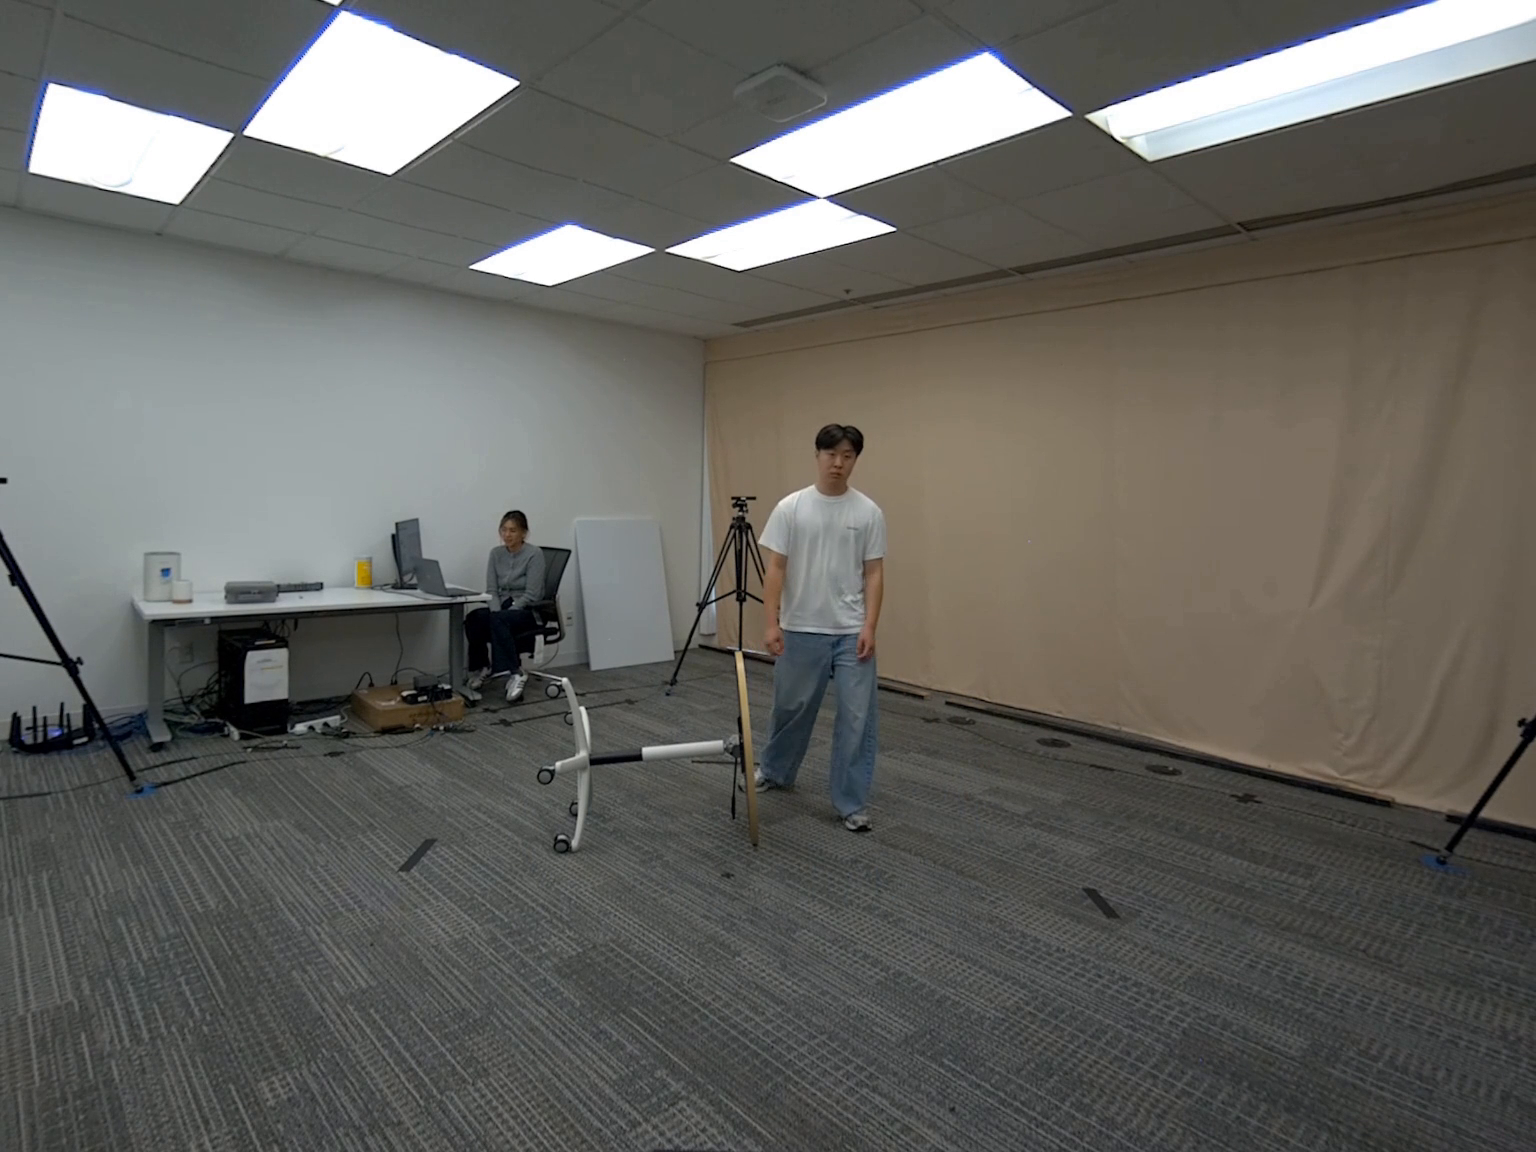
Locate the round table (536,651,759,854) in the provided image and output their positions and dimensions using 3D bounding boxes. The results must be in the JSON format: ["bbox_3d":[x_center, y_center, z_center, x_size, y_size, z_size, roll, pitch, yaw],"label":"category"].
[{"bbox_3d":[-0.476,0.723,3.434,0.785,0.782,0.789,-4,5,-3],"label":"round table"}]
